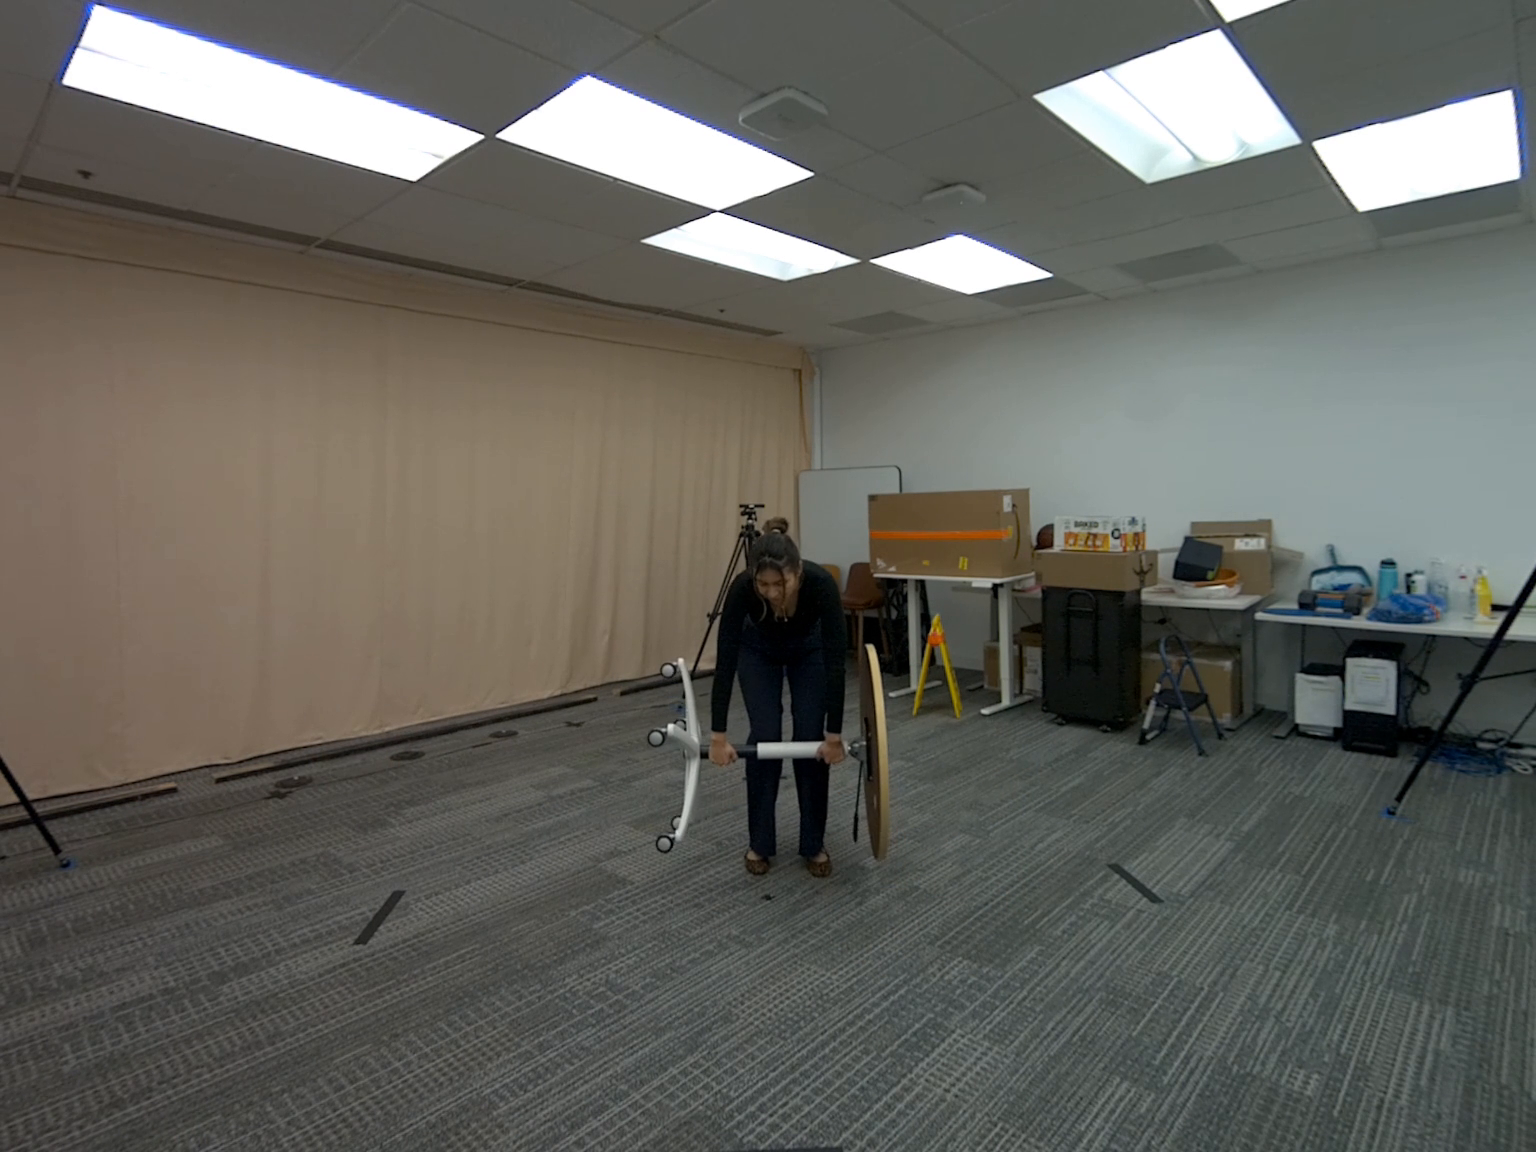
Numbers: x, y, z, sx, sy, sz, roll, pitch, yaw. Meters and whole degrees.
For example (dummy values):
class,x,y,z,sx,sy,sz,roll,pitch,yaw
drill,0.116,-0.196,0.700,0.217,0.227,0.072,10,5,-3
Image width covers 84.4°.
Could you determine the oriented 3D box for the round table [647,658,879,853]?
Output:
class,x,y,z,sx,sy,sz,roll,pitch,yaw
round table,0.001,0.658,3.128,0.797,0.762,0.763,-3,4,3
